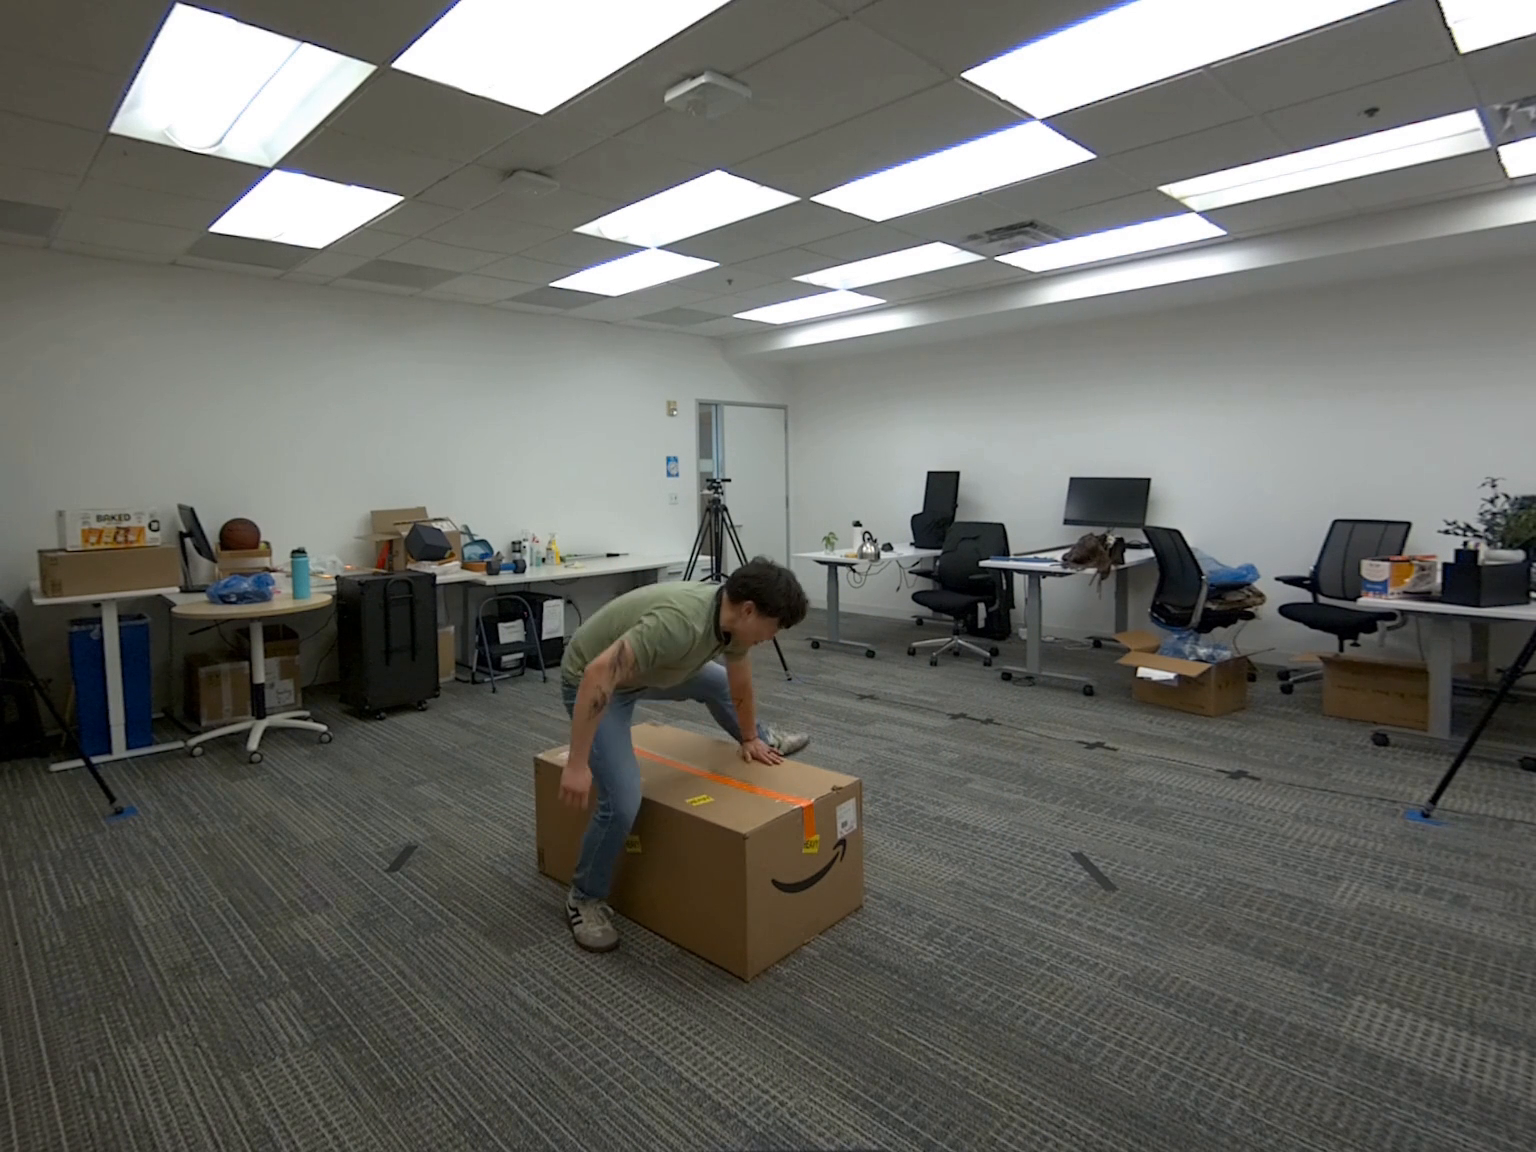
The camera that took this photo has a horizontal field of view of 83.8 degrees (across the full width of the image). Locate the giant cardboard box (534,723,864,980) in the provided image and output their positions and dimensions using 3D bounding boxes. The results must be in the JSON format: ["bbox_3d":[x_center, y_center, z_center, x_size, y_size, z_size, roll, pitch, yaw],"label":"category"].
[{"bbox_3d":[-0.261,0.857,2.919,1.058,0.424,0.563,5,8,42],"label":"giant cardboard box"}]
